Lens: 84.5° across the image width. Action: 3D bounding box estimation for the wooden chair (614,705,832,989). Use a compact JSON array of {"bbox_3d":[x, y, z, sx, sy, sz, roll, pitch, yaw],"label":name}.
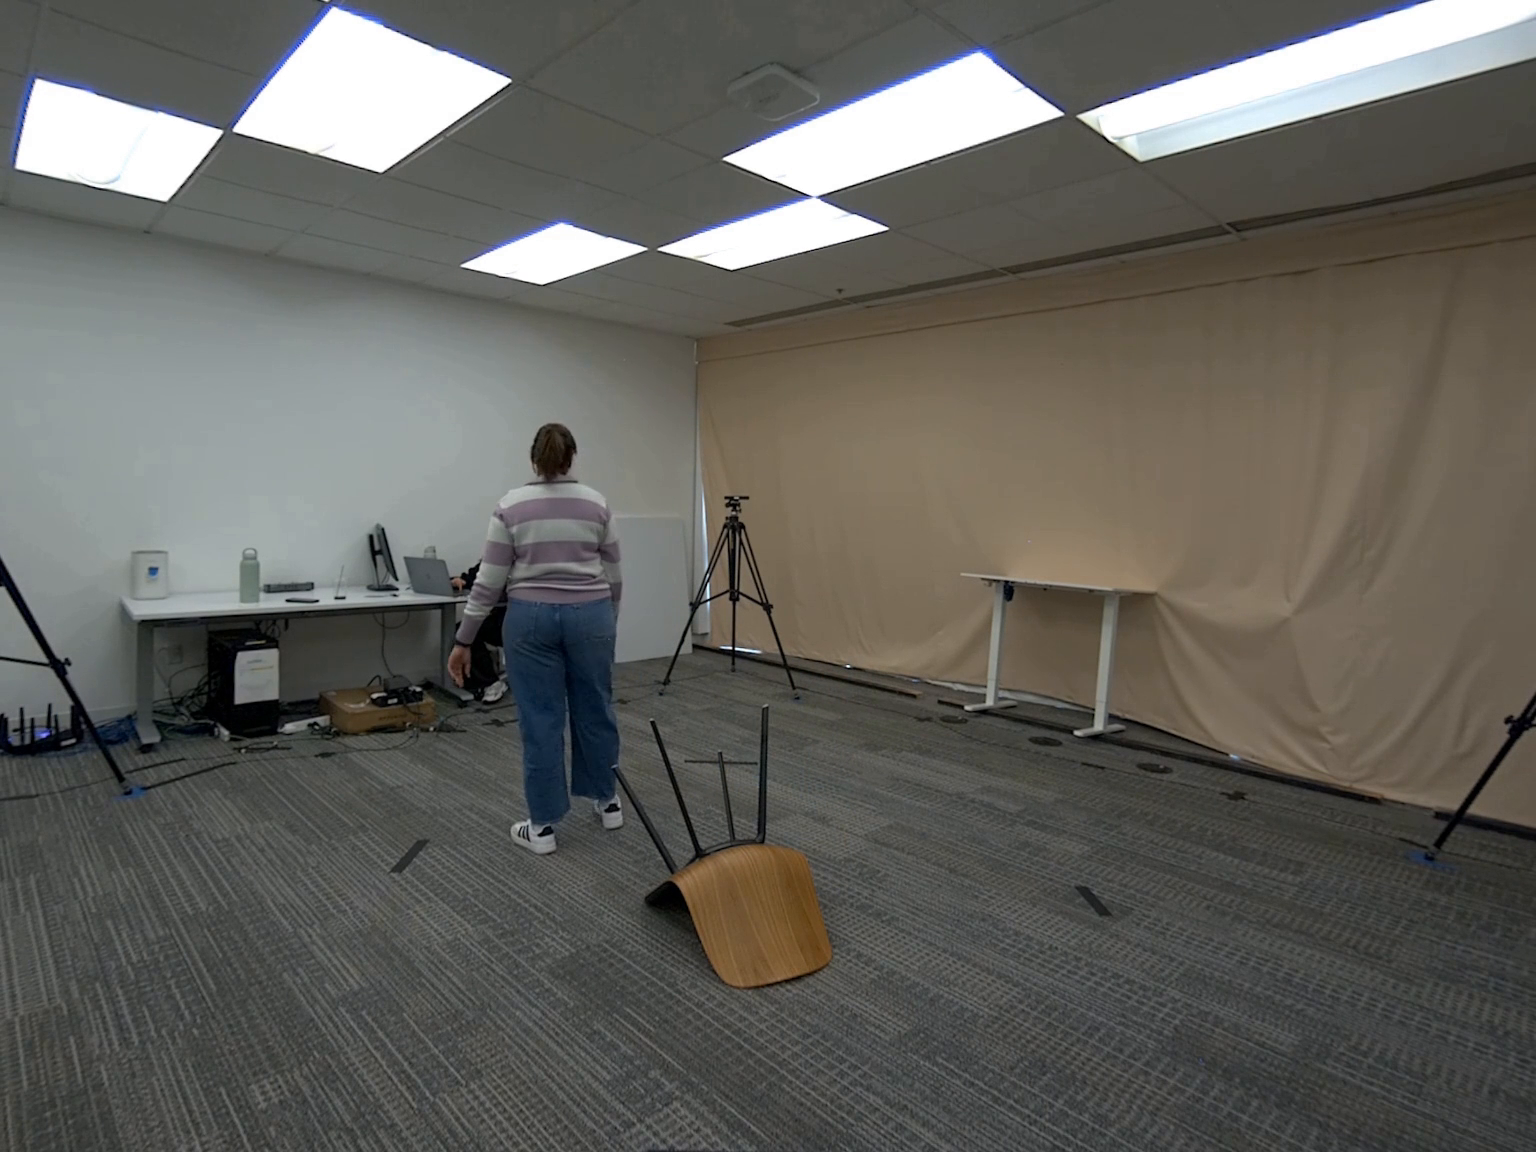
[{"bbox_3d":[-0.169,0.957,2.843,0.468,0.900,0.520,-1,-36,-30],"label":"wooden chair"}]
